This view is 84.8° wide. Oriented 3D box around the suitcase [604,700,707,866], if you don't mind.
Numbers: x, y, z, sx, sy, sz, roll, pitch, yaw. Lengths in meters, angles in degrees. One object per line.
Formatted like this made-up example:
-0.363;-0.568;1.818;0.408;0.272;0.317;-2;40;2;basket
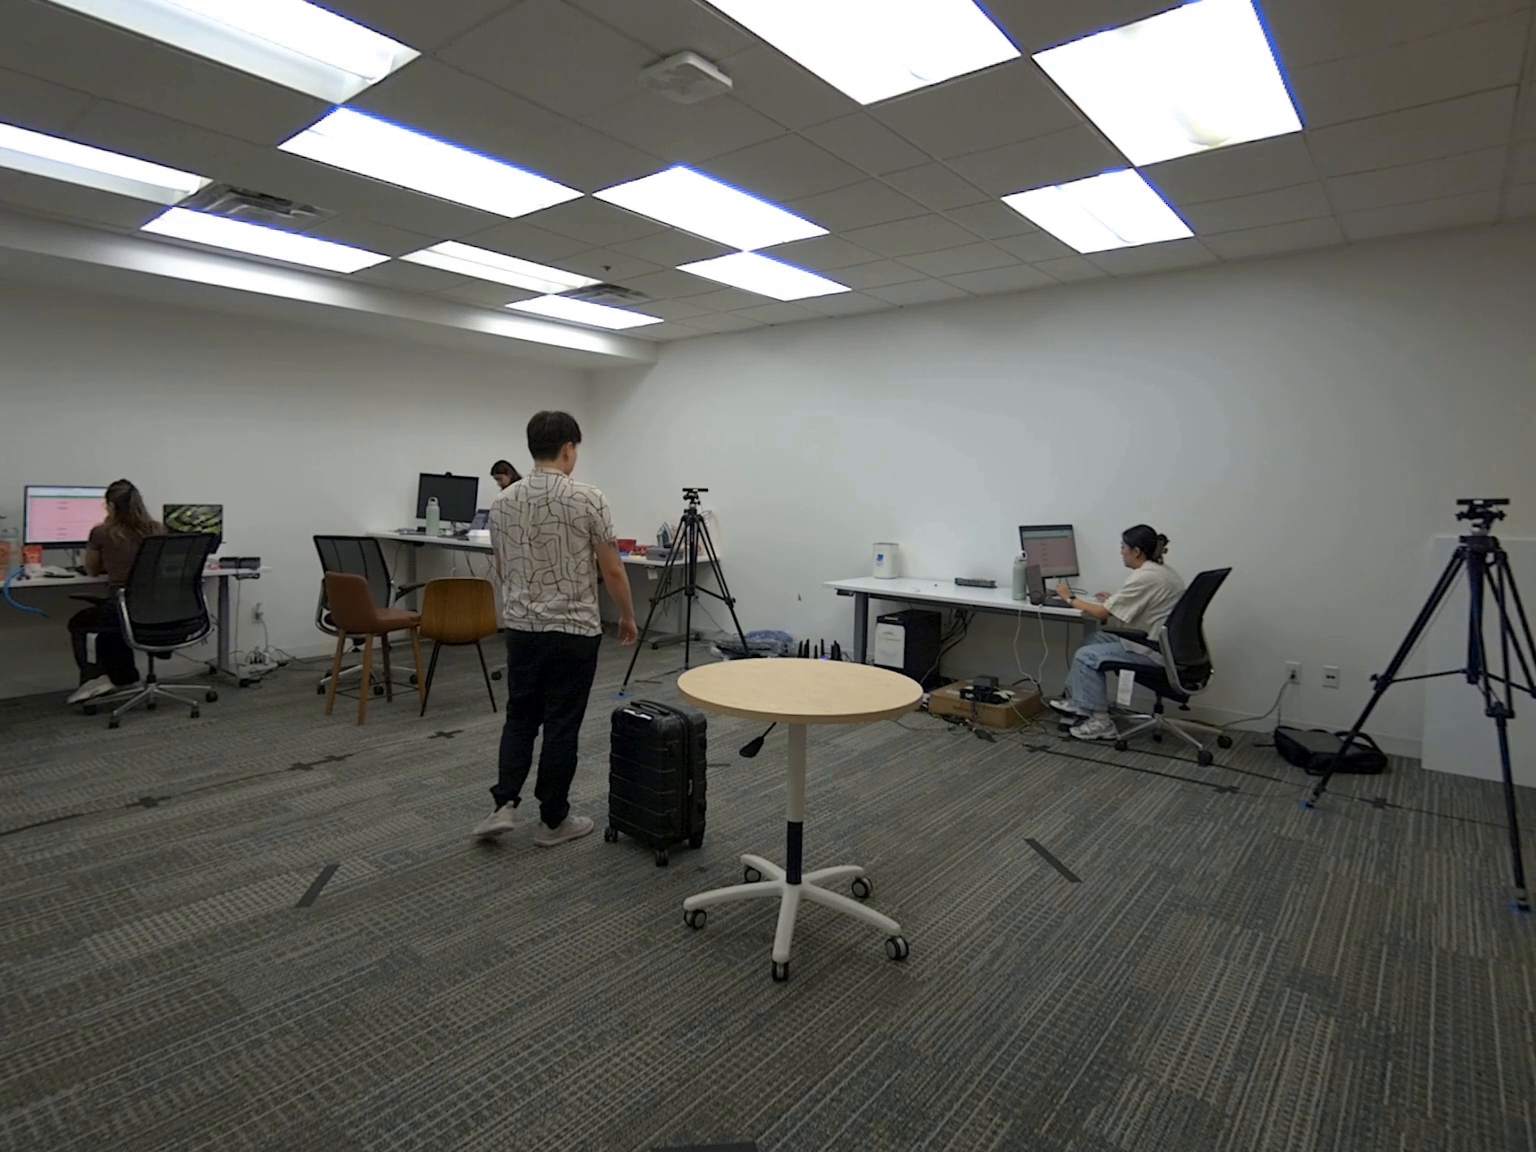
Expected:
-0.444;0.769;3.325;0.388;0.549;0.240;3;2;43;suitcase
